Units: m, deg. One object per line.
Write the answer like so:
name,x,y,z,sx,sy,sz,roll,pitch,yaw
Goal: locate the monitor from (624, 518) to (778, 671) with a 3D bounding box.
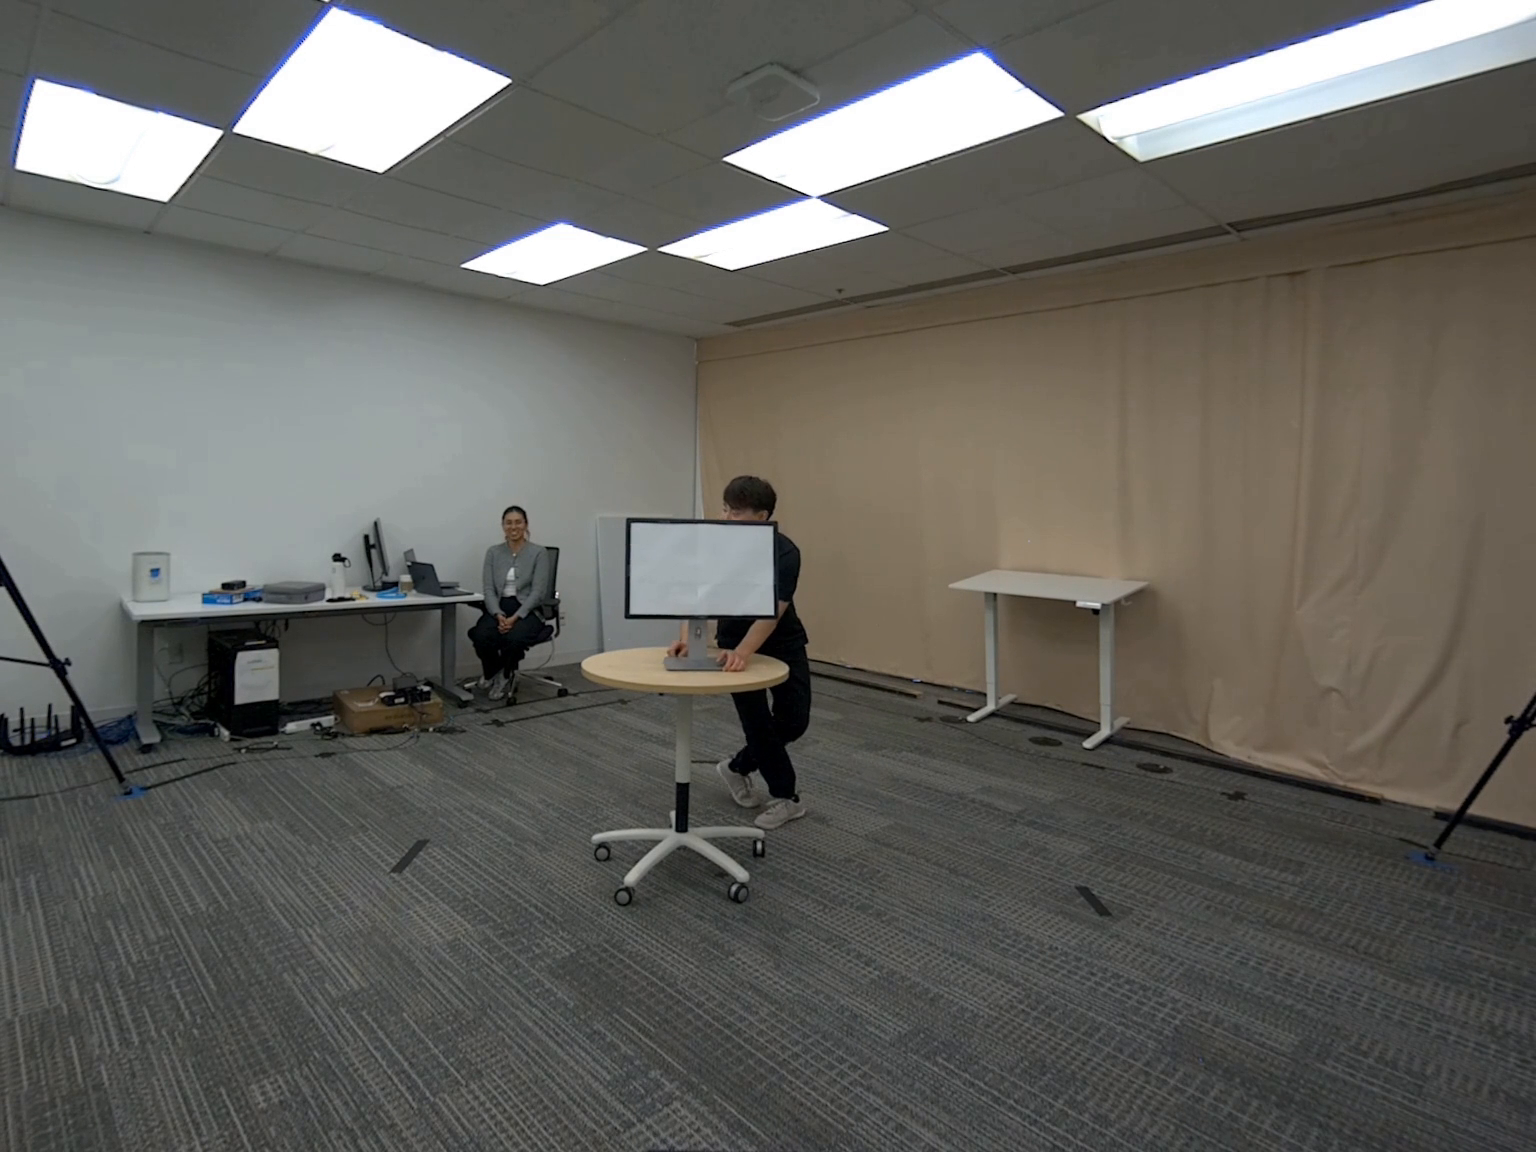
monitor,-0.251,0.066,3.087,0.534,0.521,0.189,0,4,-10
